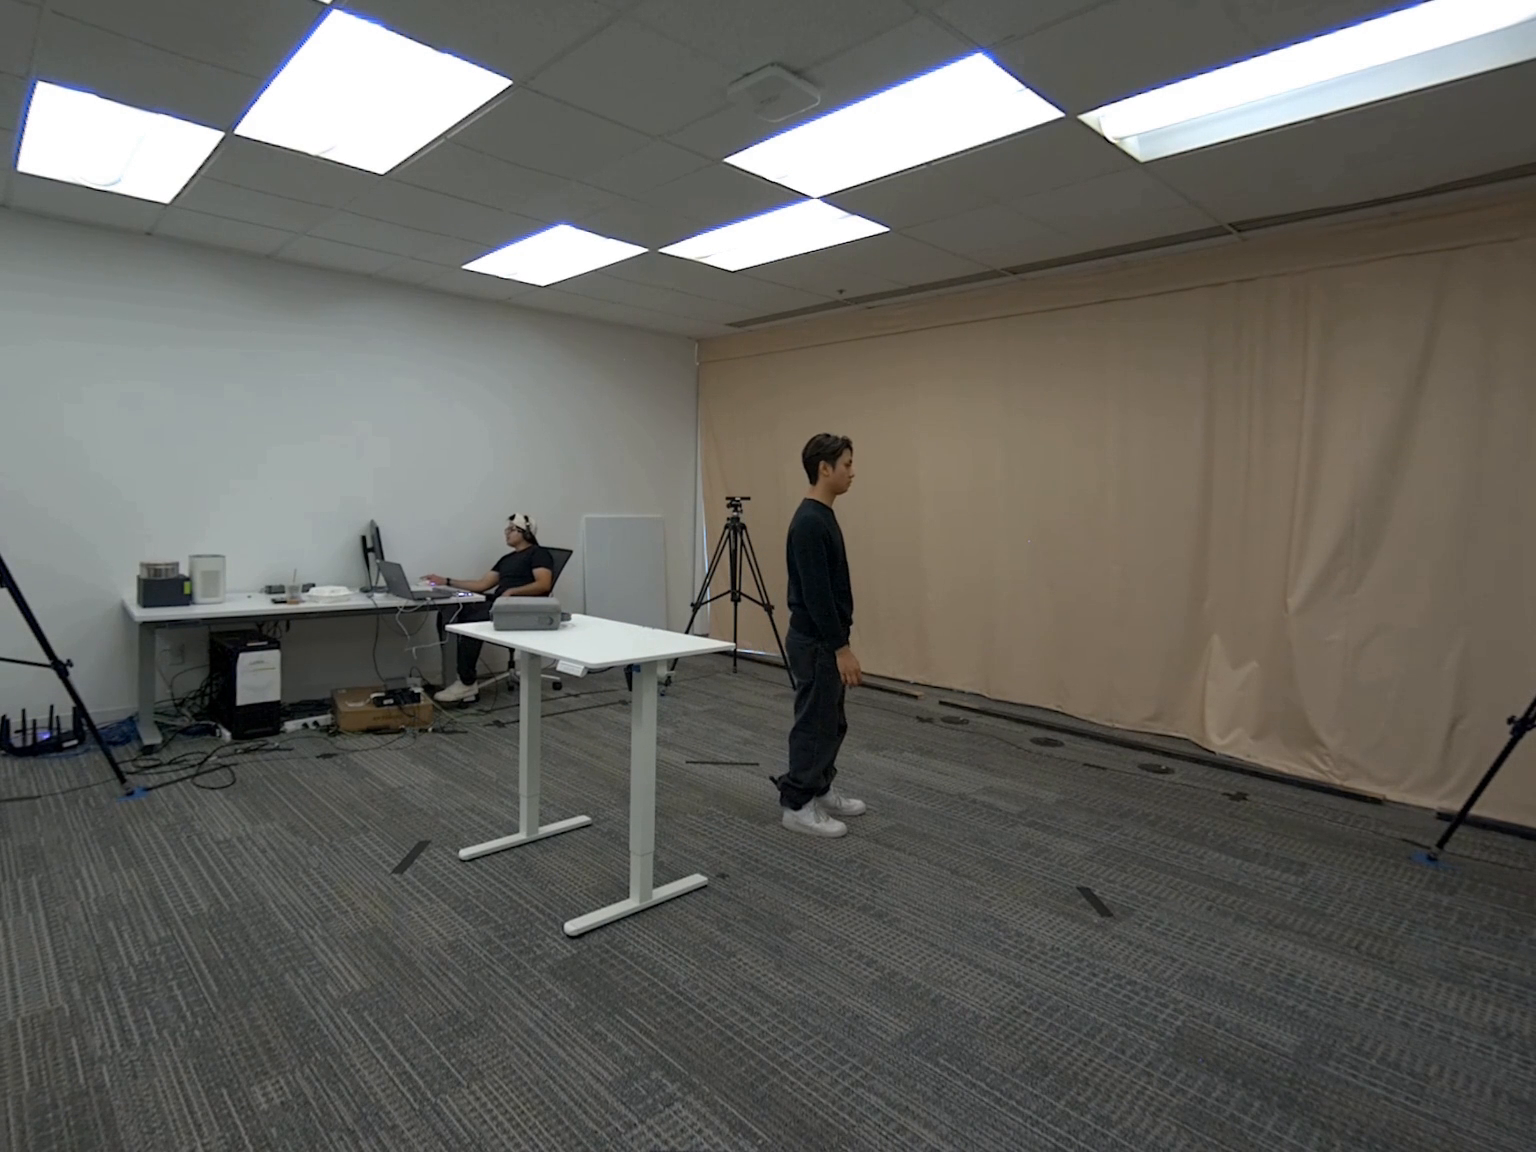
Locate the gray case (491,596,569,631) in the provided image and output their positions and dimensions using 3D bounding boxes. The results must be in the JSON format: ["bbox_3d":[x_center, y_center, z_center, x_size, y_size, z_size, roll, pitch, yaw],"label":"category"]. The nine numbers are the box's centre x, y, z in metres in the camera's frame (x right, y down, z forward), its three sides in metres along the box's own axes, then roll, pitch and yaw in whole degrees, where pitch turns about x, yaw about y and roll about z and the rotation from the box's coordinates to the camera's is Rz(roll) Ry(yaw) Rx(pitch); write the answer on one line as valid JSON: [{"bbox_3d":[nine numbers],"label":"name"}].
[{"bbox_3d":[-0.932,0.141,3.257,0.258,0.104,0.260,0,5,-13],"label":"gray case"}]
